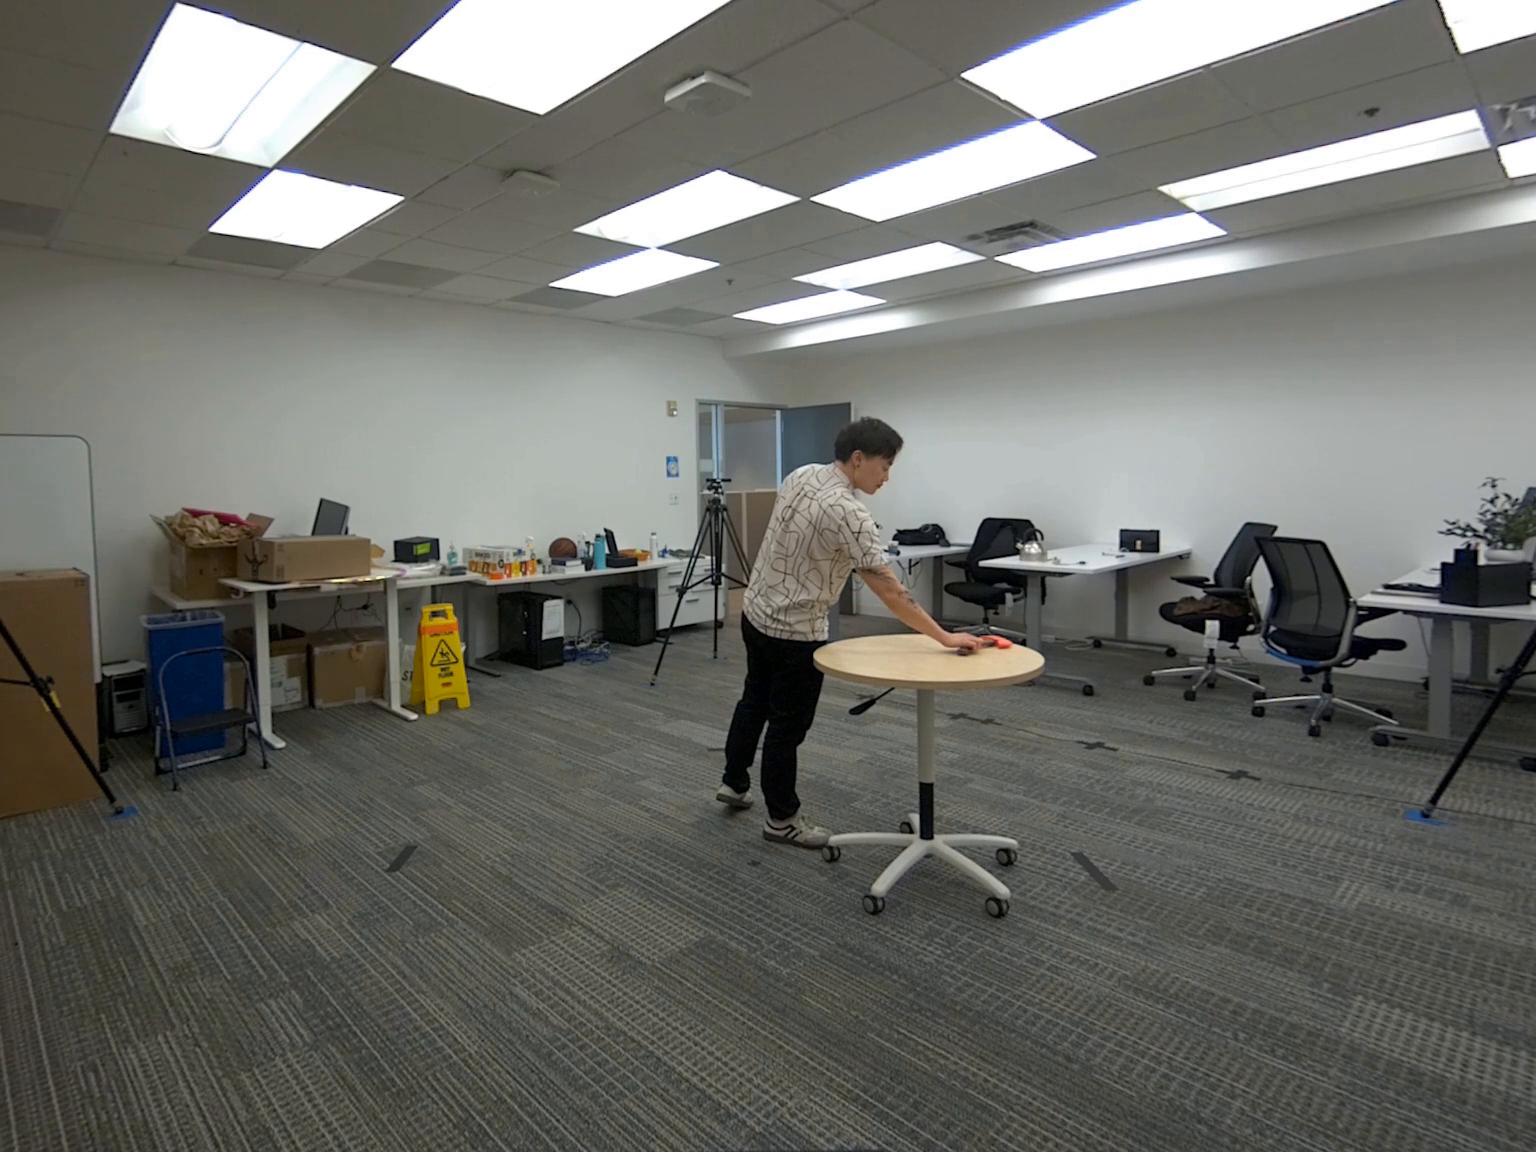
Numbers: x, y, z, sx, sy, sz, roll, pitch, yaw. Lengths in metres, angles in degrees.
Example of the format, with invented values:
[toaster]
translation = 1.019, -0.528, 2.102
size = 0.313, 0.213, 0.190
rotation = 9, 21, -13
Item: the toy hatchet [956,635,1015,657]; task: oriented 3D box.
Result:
[toy hatchet]
translation = 0.764, 0.249, 2.972
size = 0.135, 0.029, 0.264
rotation = 6, 11, 33
